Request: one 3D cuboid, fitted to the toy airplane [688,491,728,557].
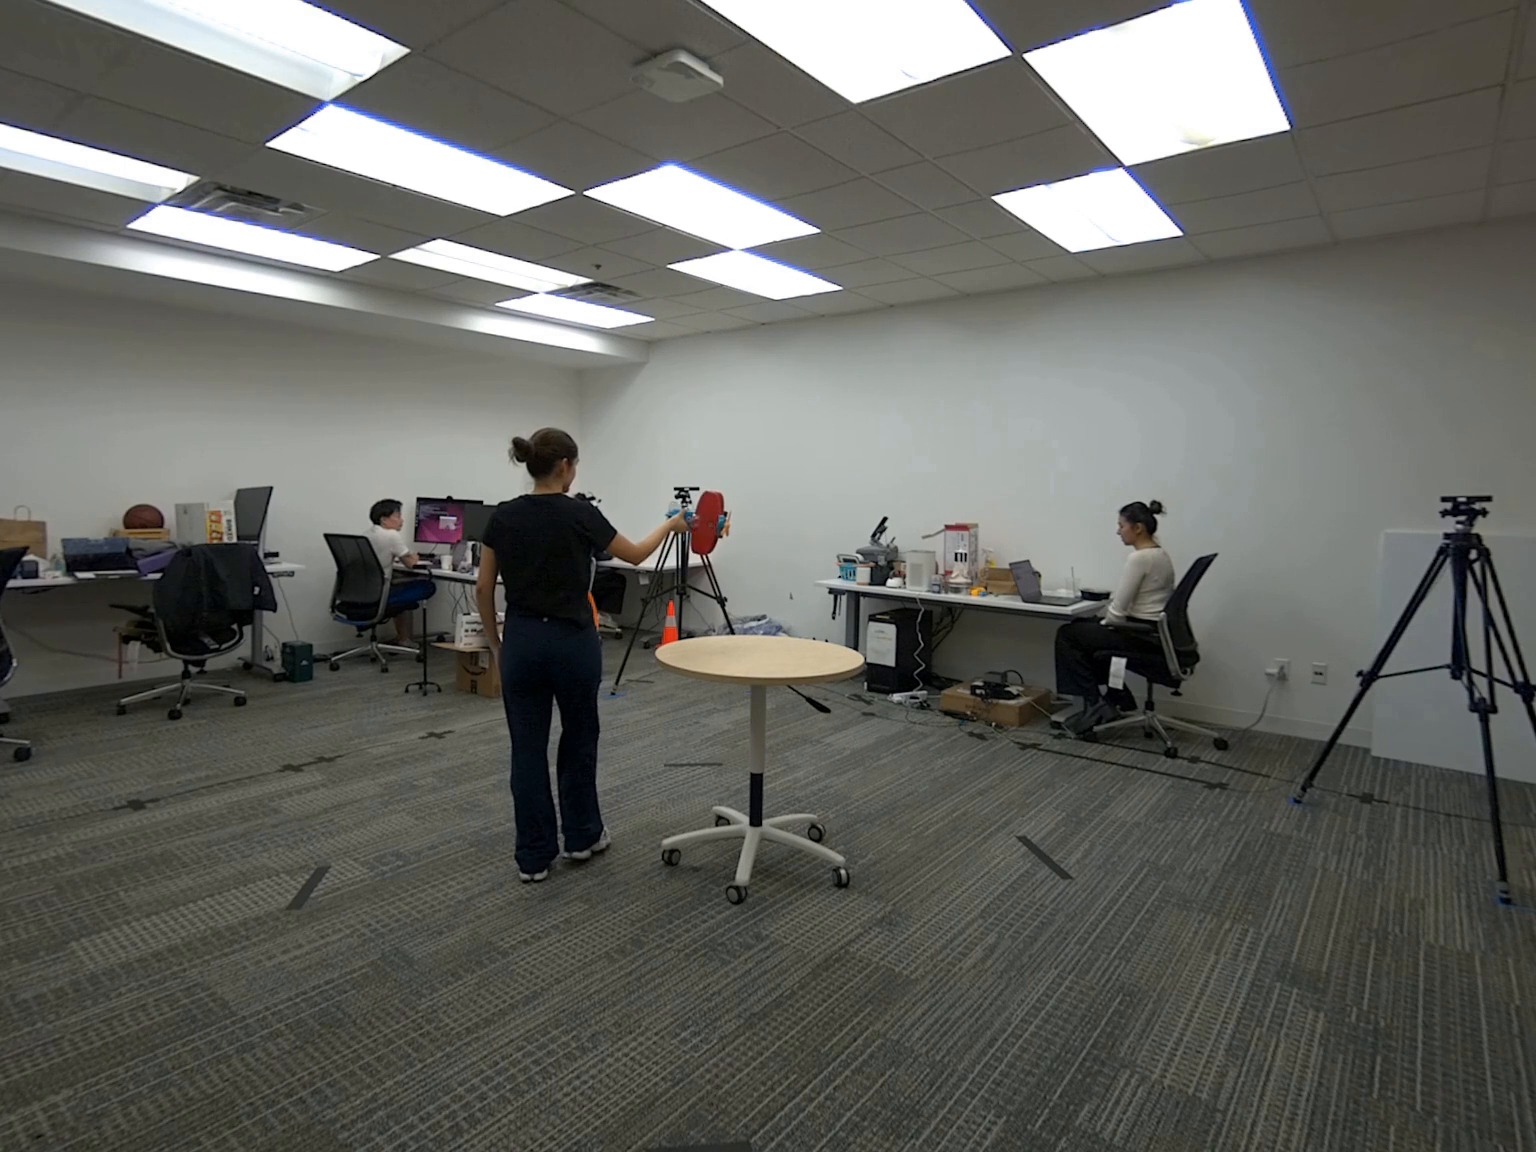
[{"bbox_3d":[-0.268,-0.204,3.429,0.259,0.249,0.157,-17,6,1],"label":"toy airplane"}]
